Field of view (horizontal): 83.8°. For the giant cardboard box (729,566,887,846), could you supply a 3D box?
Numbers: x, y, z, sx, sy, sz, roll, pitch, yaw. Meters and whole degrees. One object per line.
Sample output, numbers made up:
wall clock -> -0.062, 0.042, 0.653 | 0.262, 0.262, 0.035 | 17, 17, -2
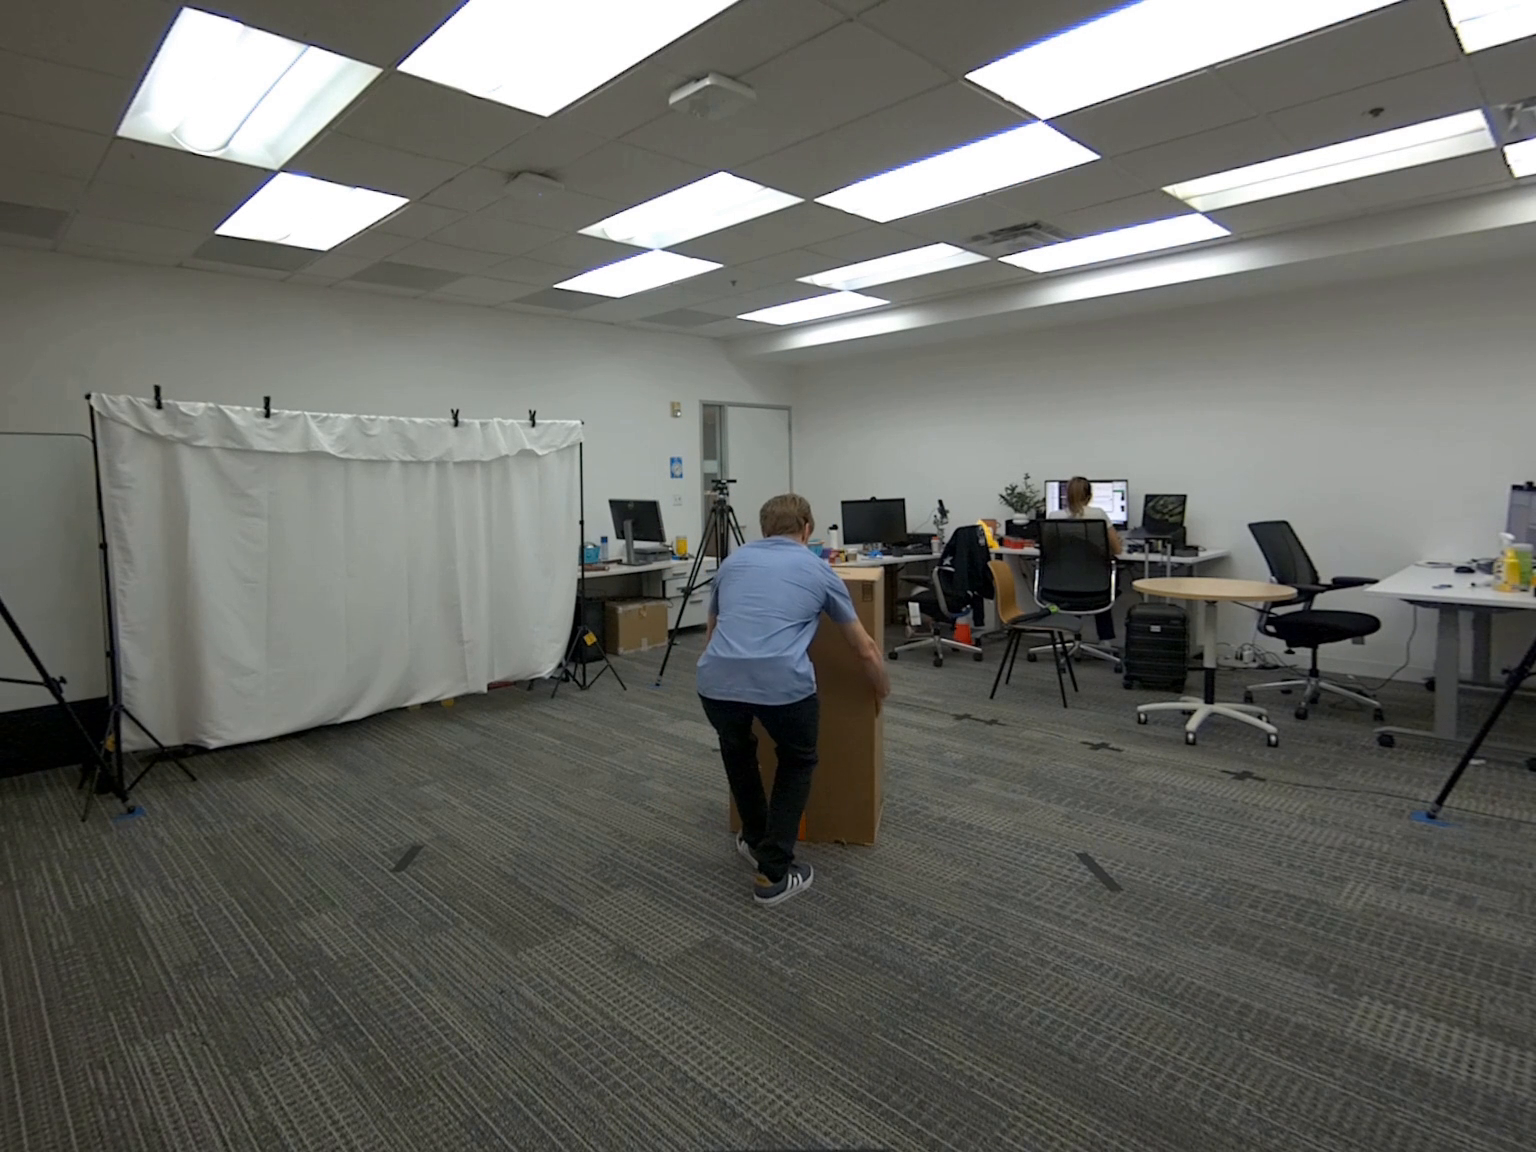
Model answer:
giant cardboard box -> 0.166, 0.489, 3.482 | 0.586, 1.021, 0.422 | 1, 5, 15
